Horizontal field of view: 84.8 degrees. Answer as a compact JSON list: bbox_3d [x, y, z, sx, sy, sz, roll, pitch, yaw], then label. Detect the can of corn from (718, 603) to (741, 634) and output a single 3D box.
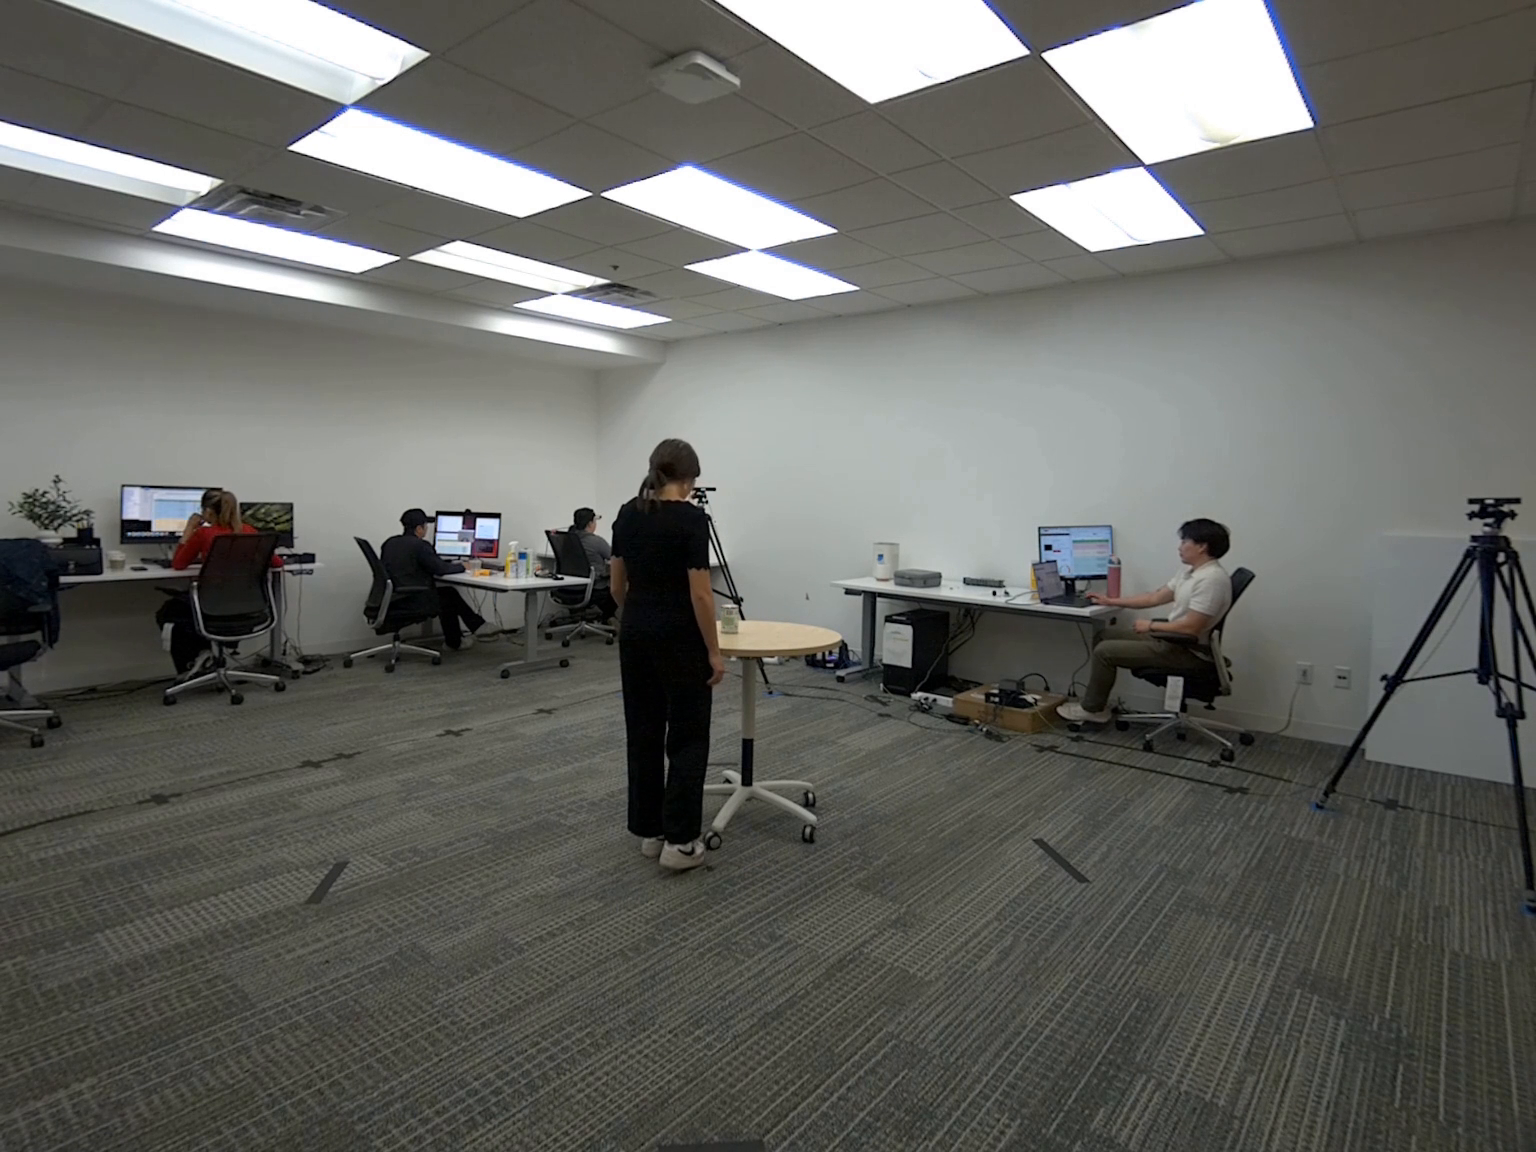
[{"bbox_3d":[-0.175,0.179,3.607,0.074,0.111,0.074,2,3,-2],"label":"can of corn"}]
